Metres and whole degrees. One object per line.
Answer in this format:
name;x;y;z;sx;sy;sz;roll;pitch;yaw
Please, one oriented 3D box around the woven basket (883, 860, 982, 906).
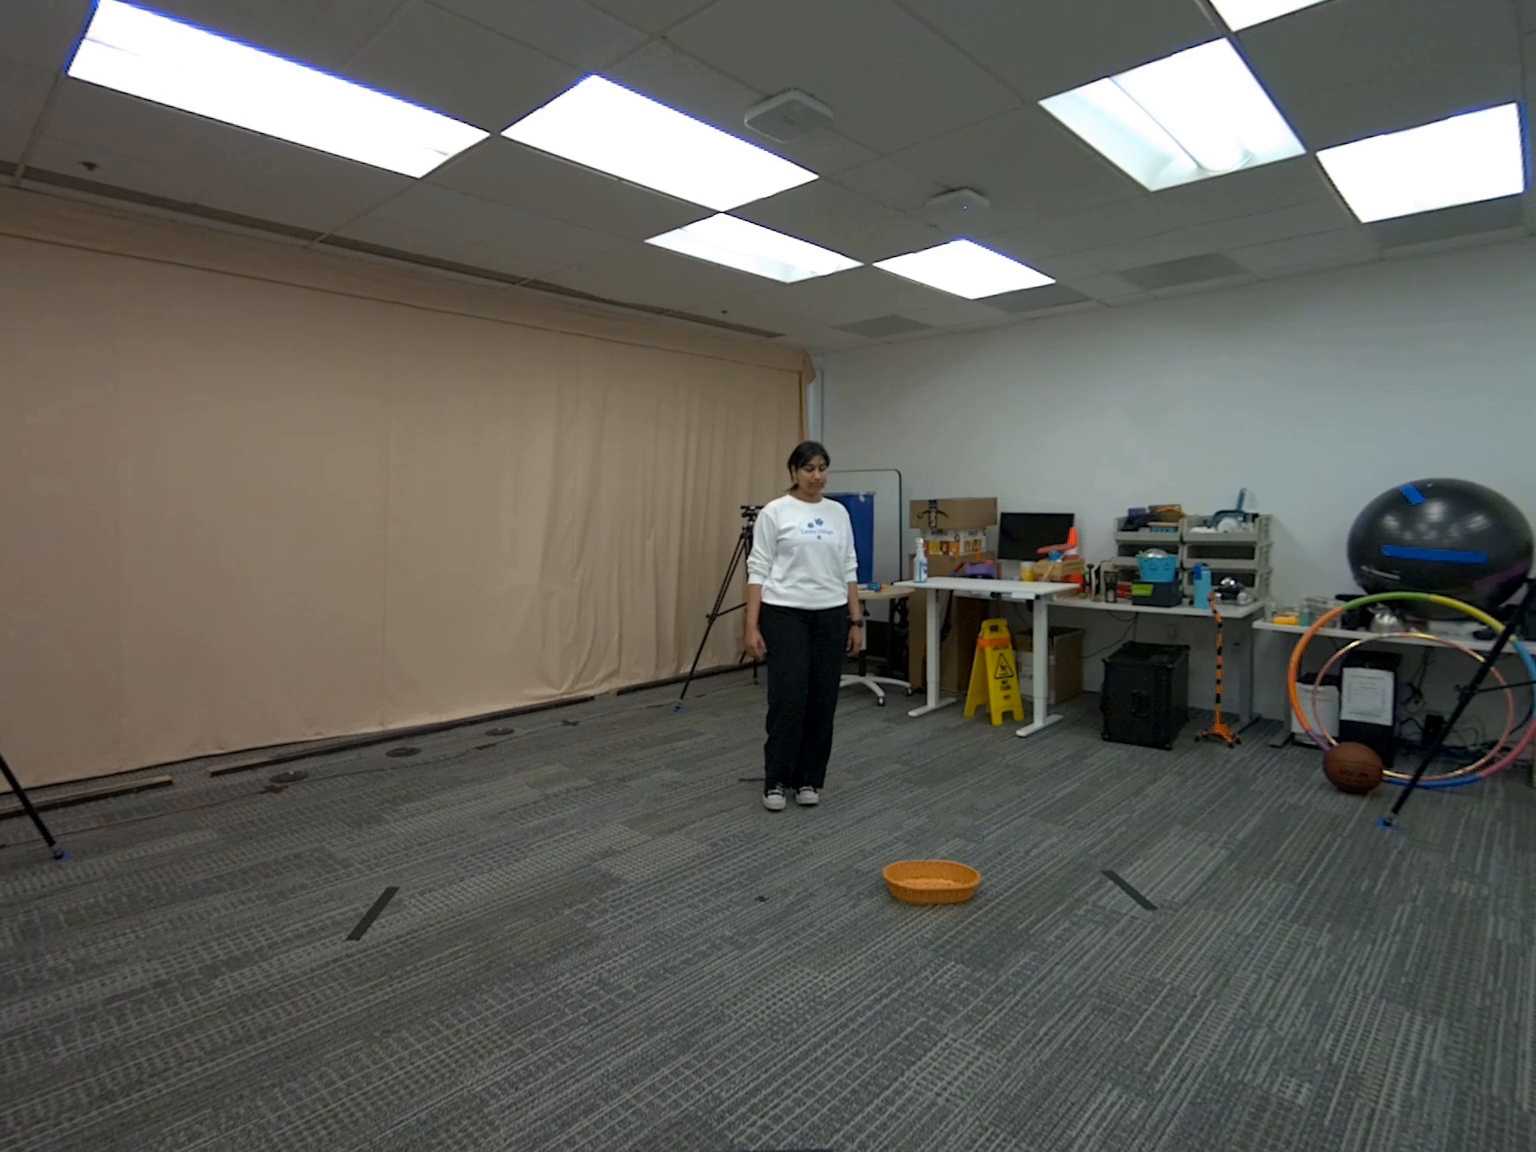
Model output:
woven basket;0.591;1.099;3.019;0.350;0.073;0.253;-1;3;-1
